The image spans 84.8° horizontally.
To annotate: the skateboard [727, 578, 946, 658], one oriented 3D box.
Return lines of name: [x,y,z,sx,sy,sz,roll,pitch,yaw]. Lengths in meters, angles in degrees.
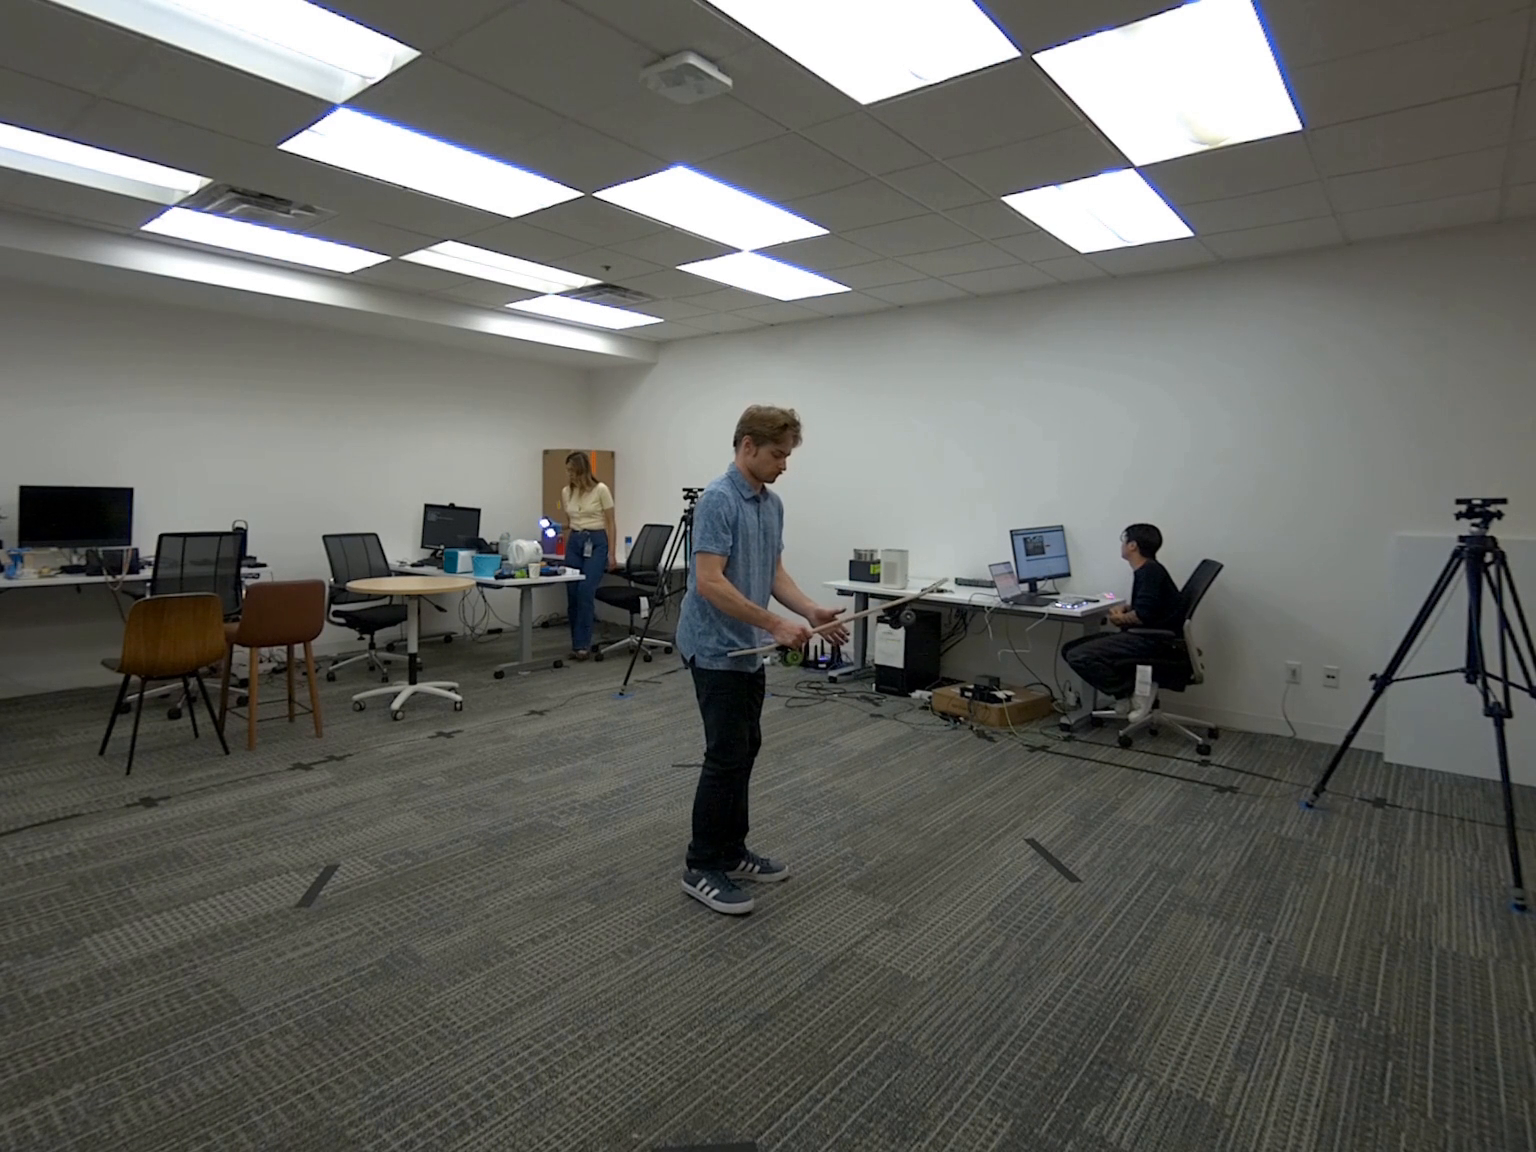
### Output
skateboard: [0.244,0.184,2.841,0.781,0.111,0.192,-19,-7,-8]
